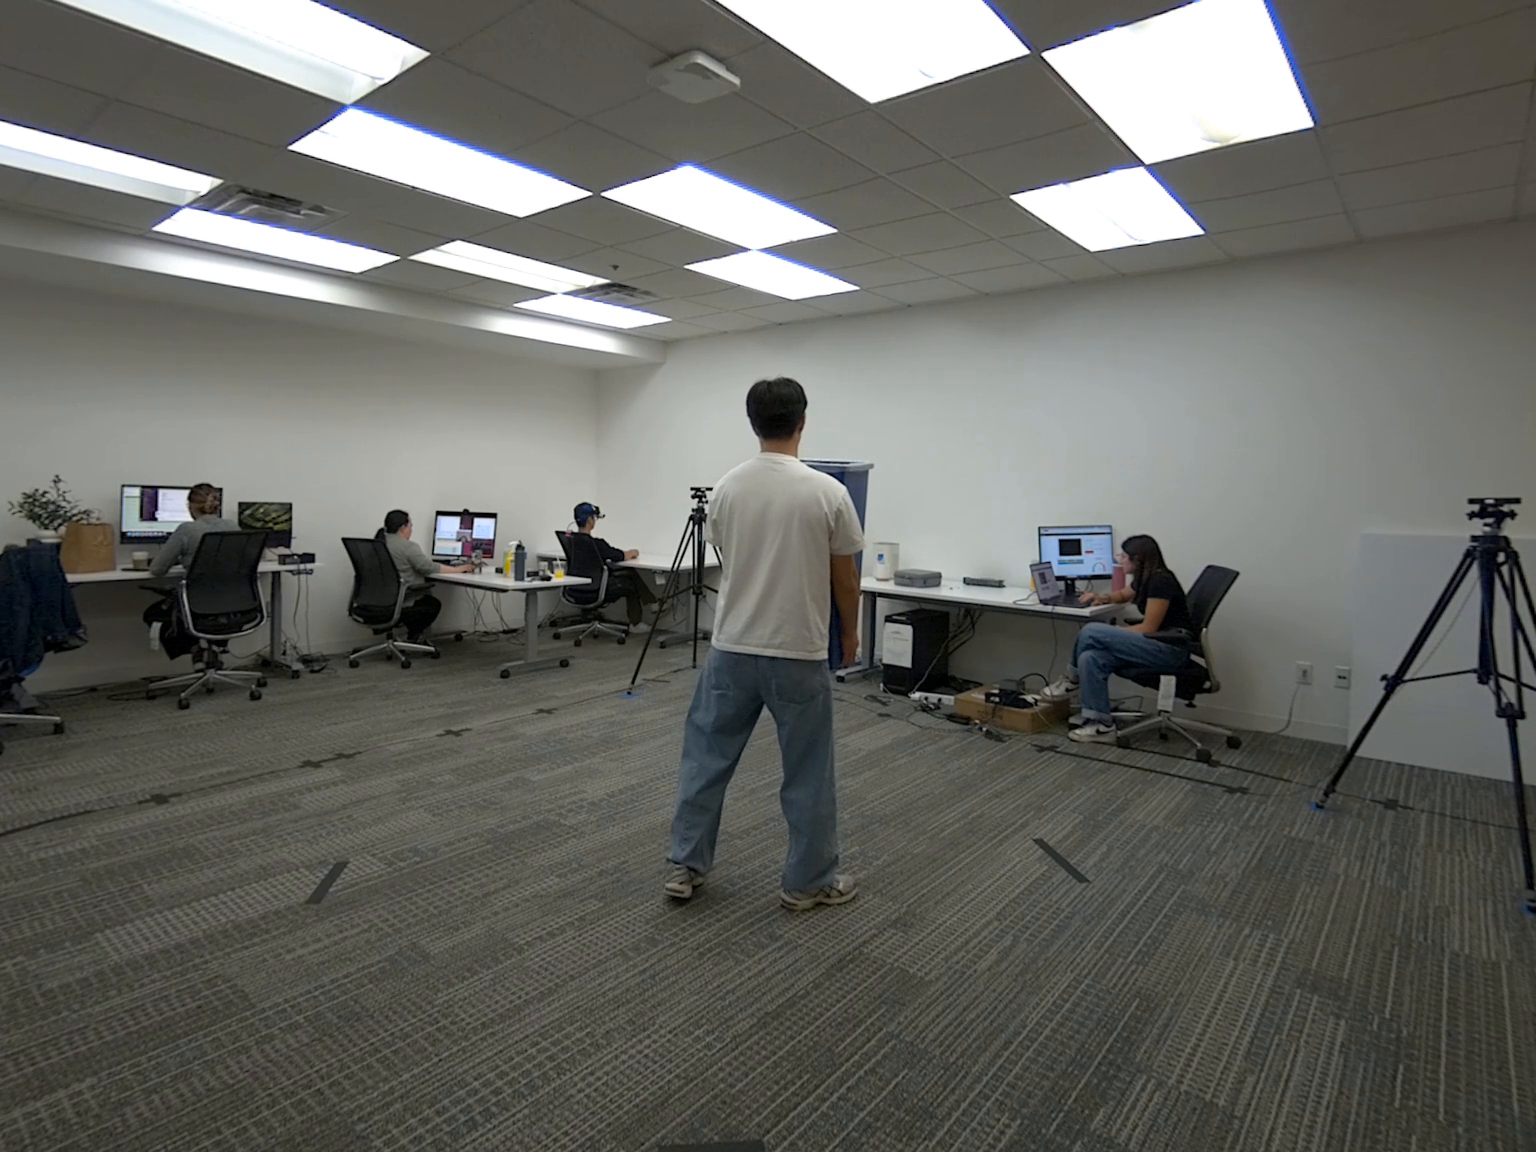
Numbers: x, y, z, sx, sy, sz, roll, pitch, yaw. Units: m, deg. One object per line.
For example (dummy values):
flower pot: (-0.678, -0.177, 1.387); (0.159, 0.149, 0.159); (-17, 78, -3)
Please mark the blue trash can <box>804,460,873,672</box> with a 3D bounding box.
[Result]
blue trash can: (0.146, -0.063, 3.074); (0.384, 0.708, 0.371); (4, 9, 24)
